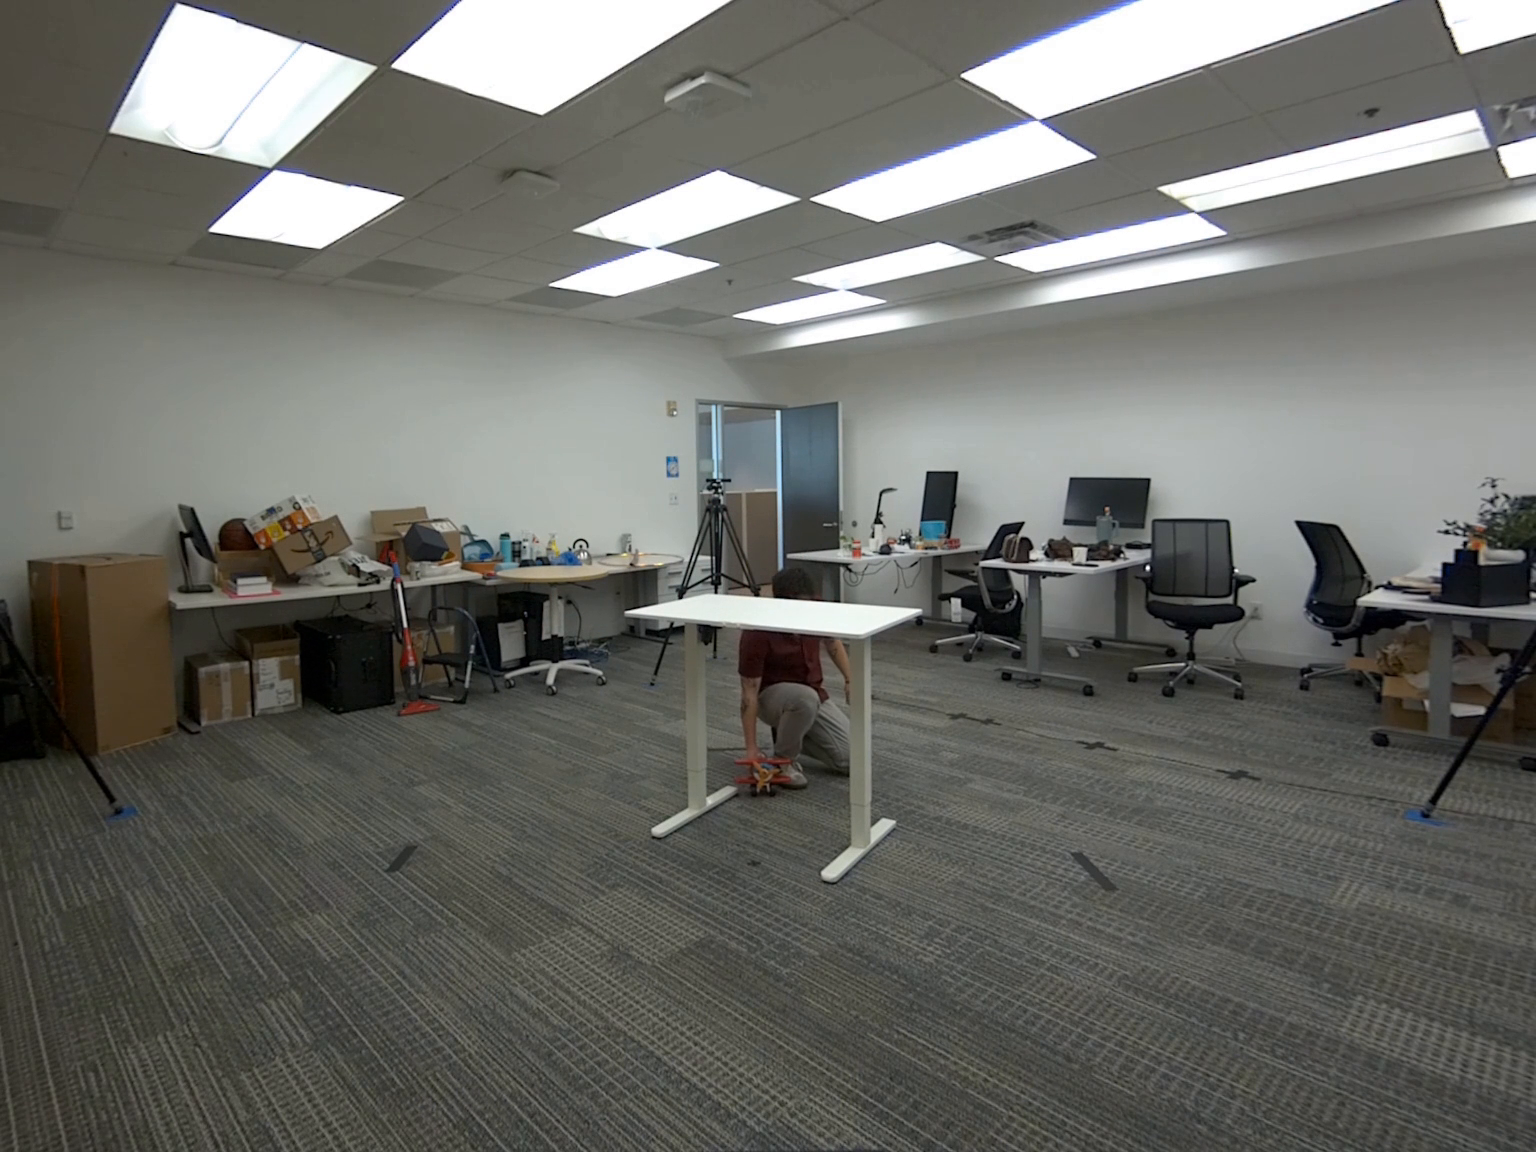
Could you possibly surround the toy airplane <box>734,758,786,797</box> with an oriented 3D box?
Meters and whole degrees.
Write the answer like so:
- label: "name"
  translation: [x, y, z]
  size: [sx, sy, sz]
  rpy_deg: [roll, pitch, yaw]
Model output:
- label: "toy airplane"
  translation: [-0.056, 0.883, 3.836]
  size: [0.245, 0.155, 0.267]
  rpy_deg: [-3, 8, -32]
